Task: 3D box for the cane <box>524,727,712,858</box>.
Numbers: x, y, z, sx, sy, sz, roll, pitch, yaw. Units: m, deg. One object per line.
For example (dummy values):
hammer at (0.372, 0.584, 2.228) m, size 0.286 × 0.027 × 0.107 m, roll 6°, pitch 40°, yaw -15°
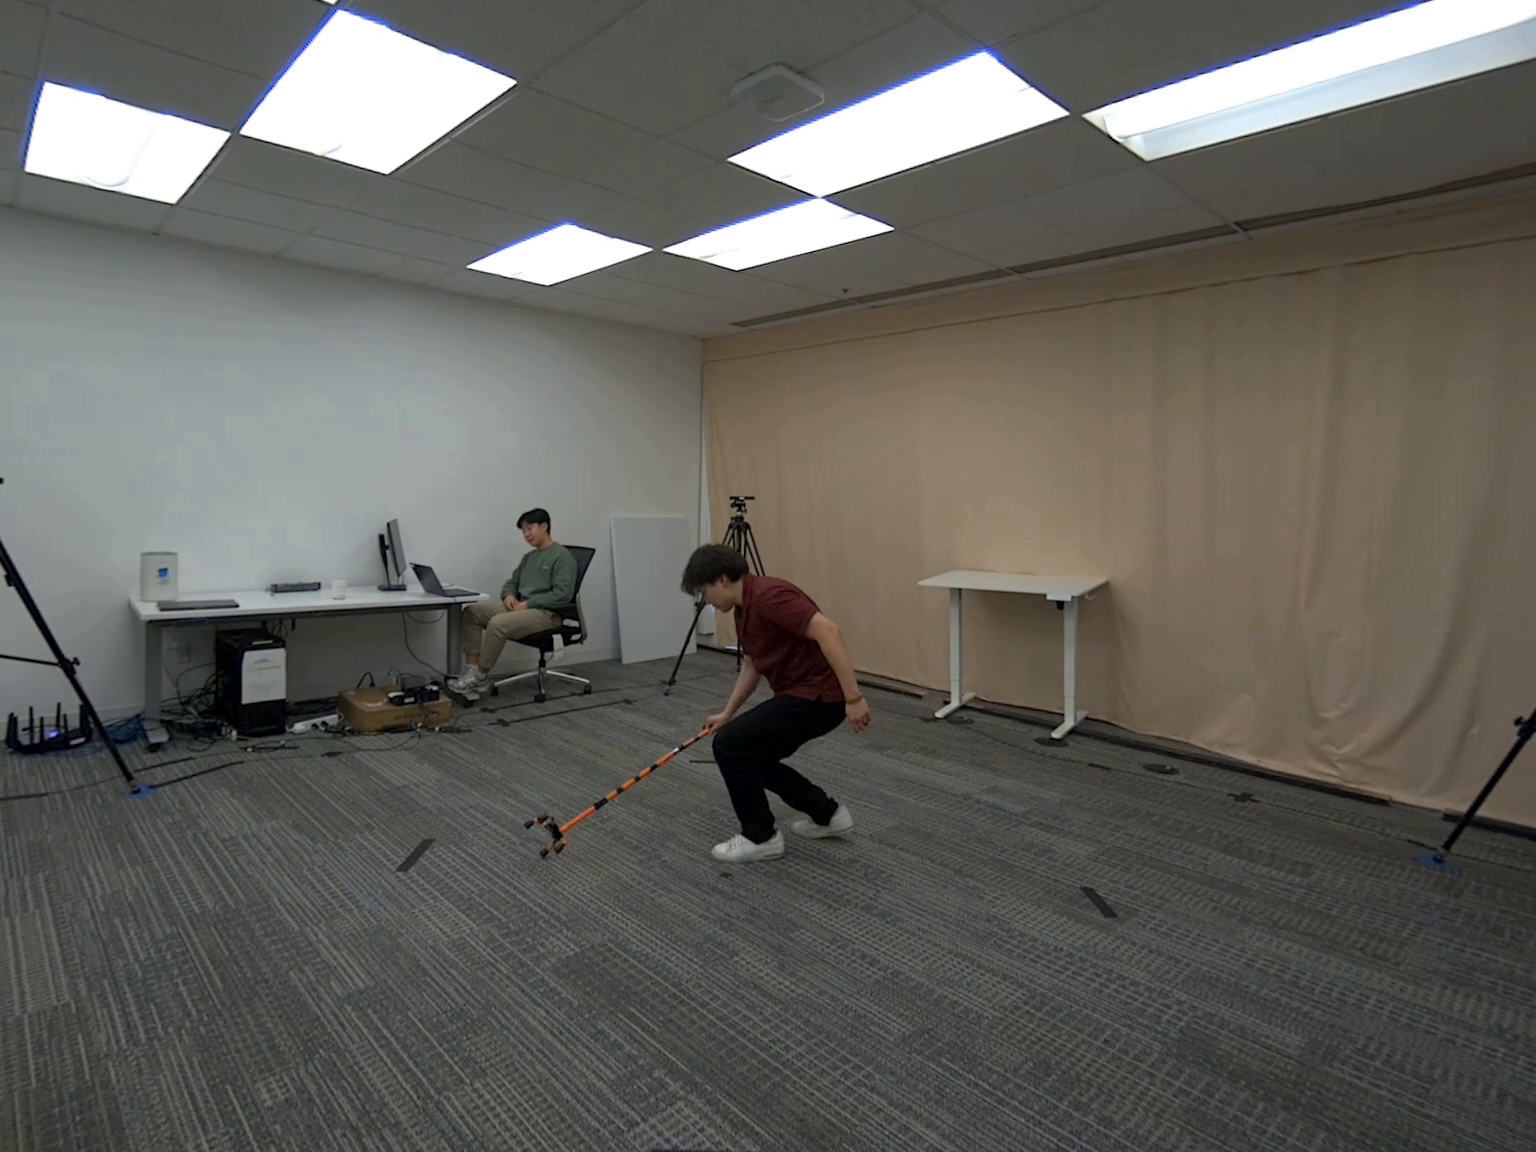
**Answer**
cane at (-0.536, 0.802, 3.411) m, size 0.899 × 0.152 × 0.207 m, roll -29°, pitch -5°, yaw -37°
